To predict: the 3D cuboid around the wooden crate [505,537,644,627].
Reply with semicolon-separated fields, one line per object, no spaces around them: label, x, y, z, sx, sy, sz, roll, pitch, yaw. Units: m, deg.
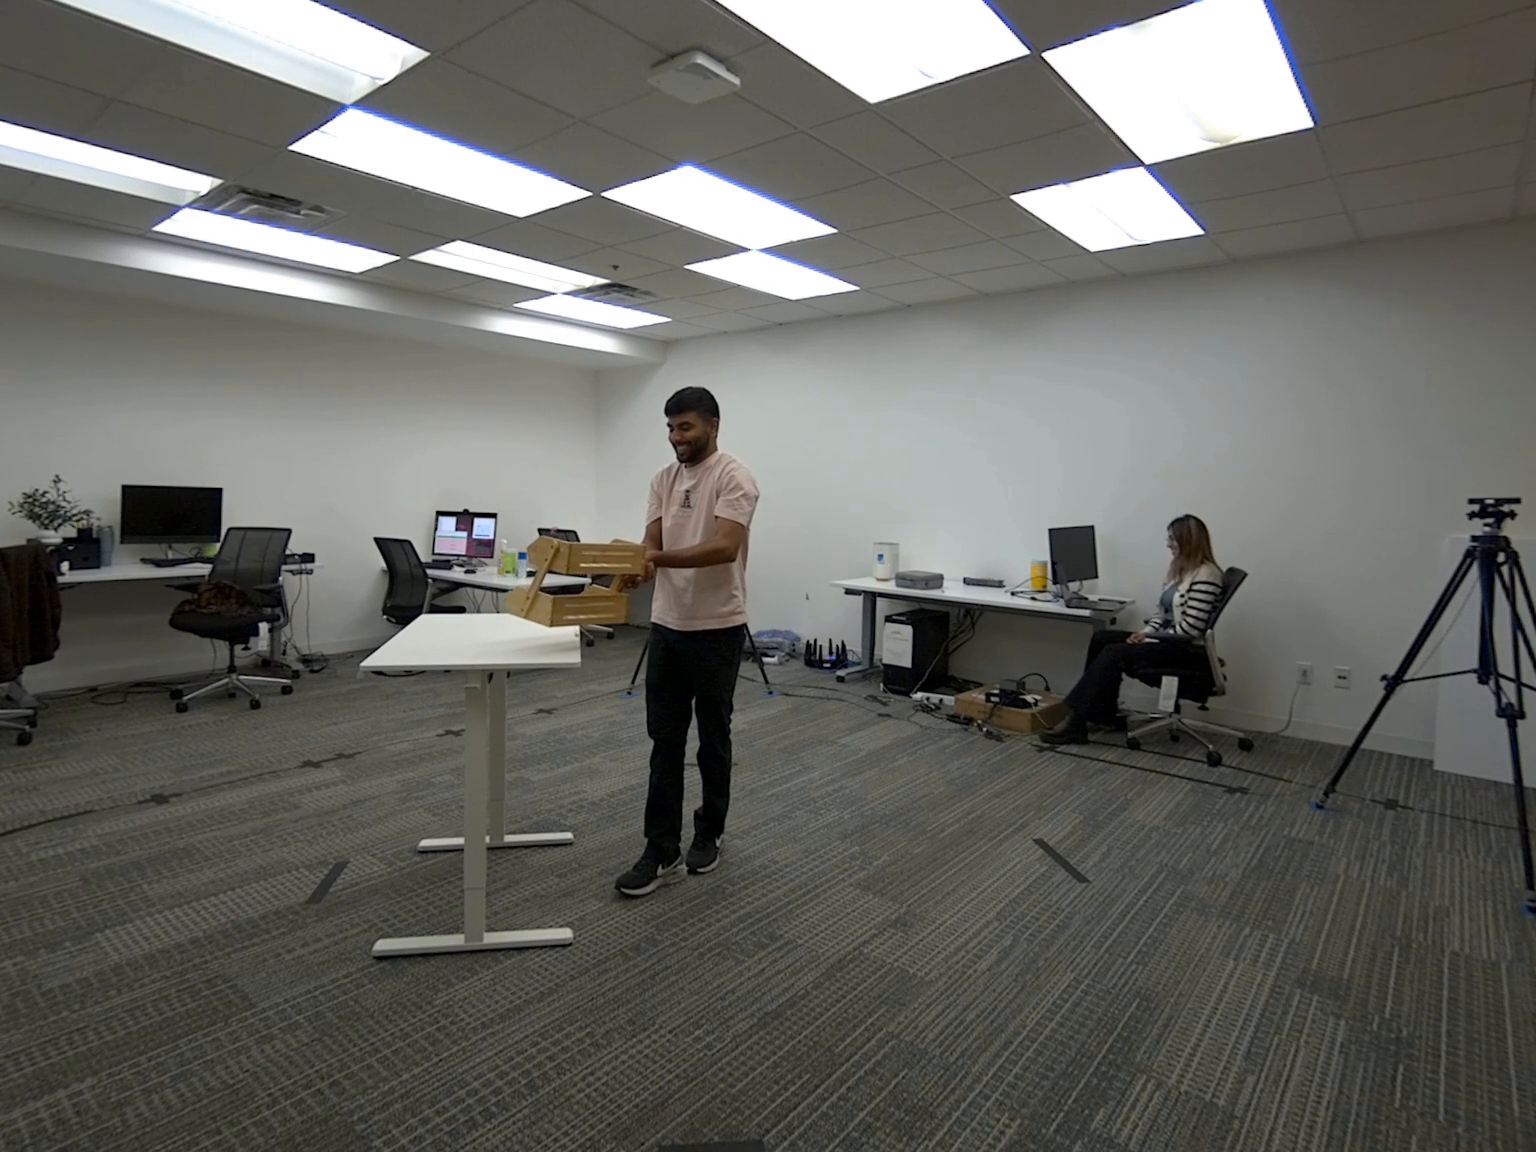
wooden crate;-0.619;0.004;2.669;0.313;0.272;0.314;11;6;40
